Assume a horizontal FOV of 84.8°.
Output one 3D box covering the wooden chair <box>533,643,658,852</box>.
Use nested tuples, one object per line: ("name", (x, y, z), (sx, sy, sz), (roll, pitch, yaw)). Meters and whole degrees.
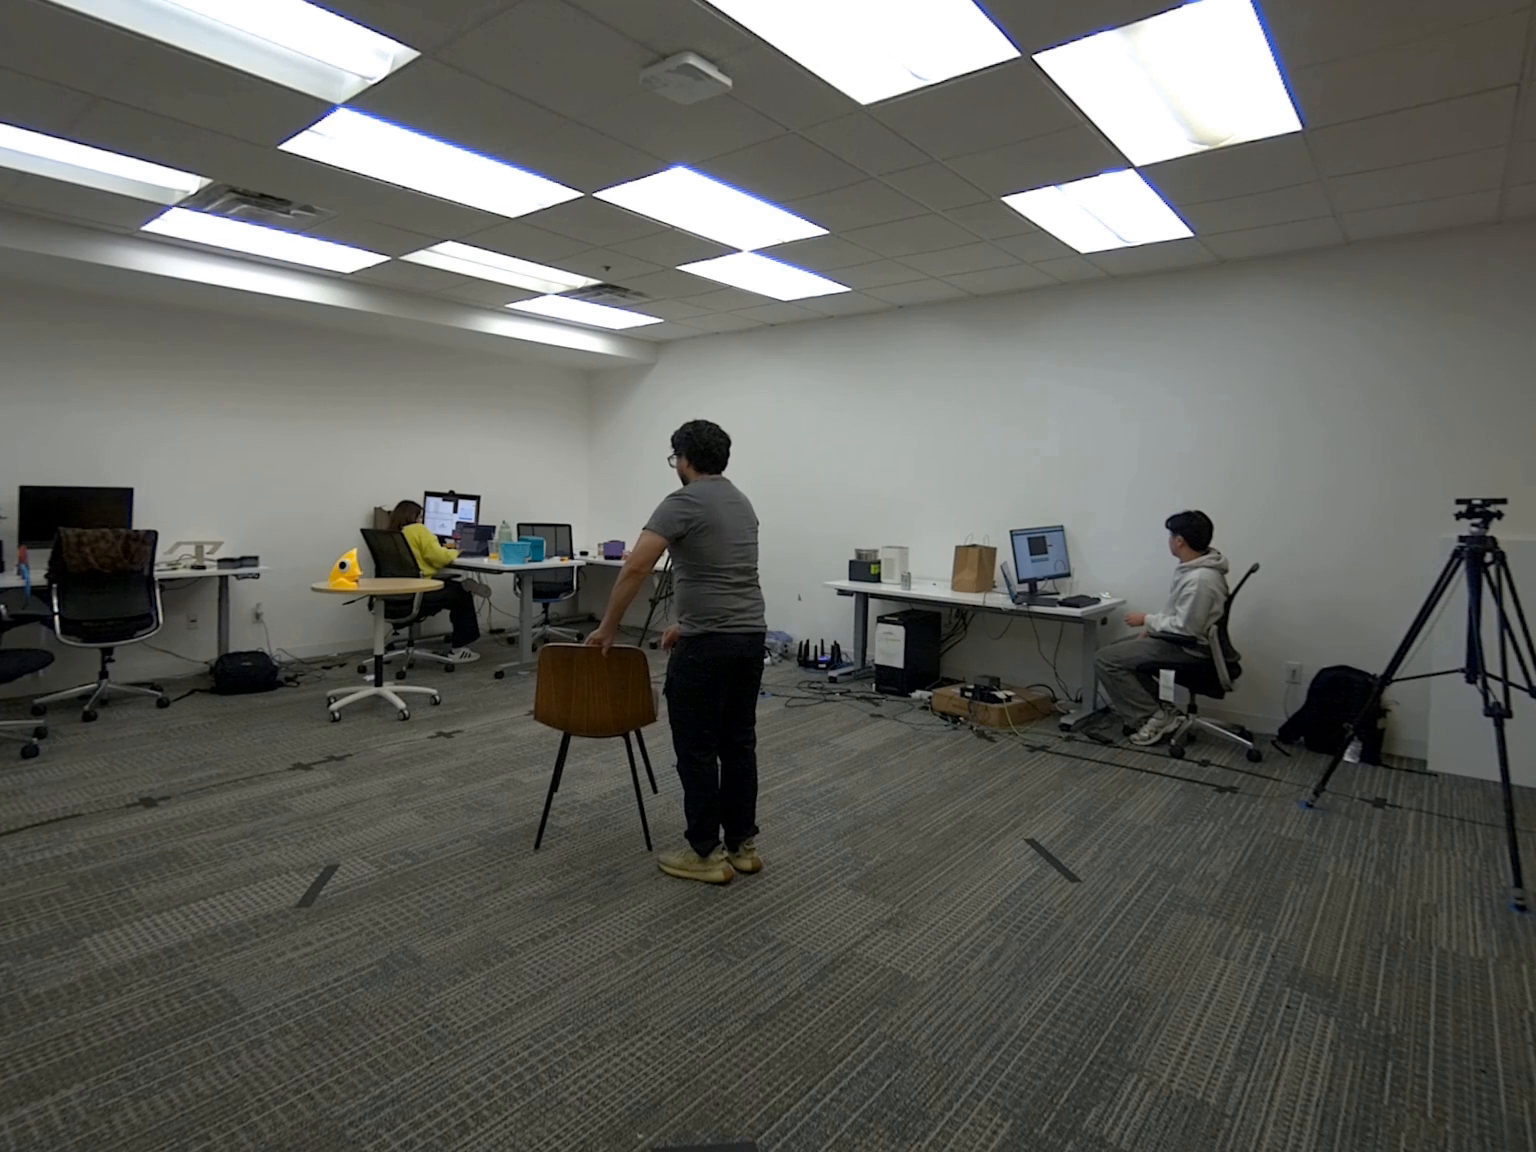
("wooden chair", (-0.686, 0.578, 3.395), (0.477, 0.865, 0.532), (1, 16, -3))
